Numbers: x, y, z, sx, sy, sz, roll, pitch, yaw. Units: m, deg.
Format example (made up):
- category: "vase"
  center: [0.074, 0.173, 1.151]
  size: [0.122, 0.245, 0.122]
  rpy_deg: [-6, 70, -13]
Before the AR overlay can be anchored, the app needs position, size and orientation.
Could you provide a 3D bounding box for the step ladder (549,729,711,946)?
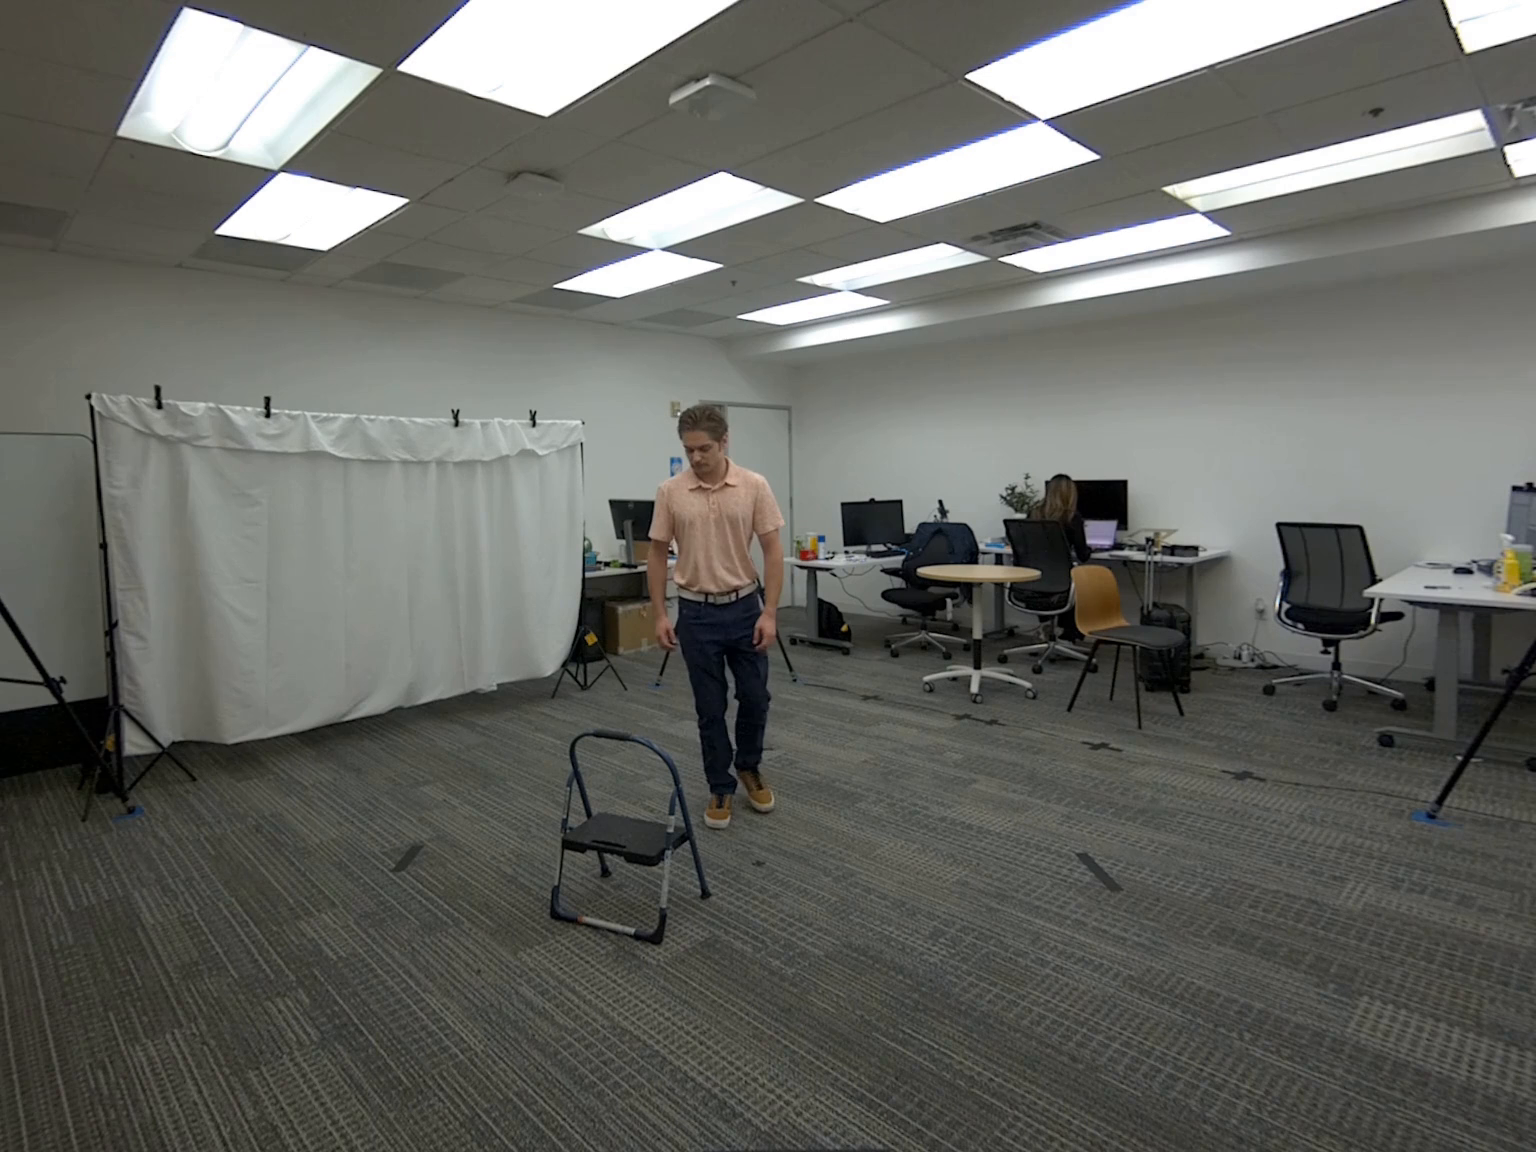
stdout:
- category: "step ladder"
  center: [-0.457, 0.791, 2.793]
  size: [0.440, 0.604, 0.343]
  rpy_deg: [1, 5, 24]
